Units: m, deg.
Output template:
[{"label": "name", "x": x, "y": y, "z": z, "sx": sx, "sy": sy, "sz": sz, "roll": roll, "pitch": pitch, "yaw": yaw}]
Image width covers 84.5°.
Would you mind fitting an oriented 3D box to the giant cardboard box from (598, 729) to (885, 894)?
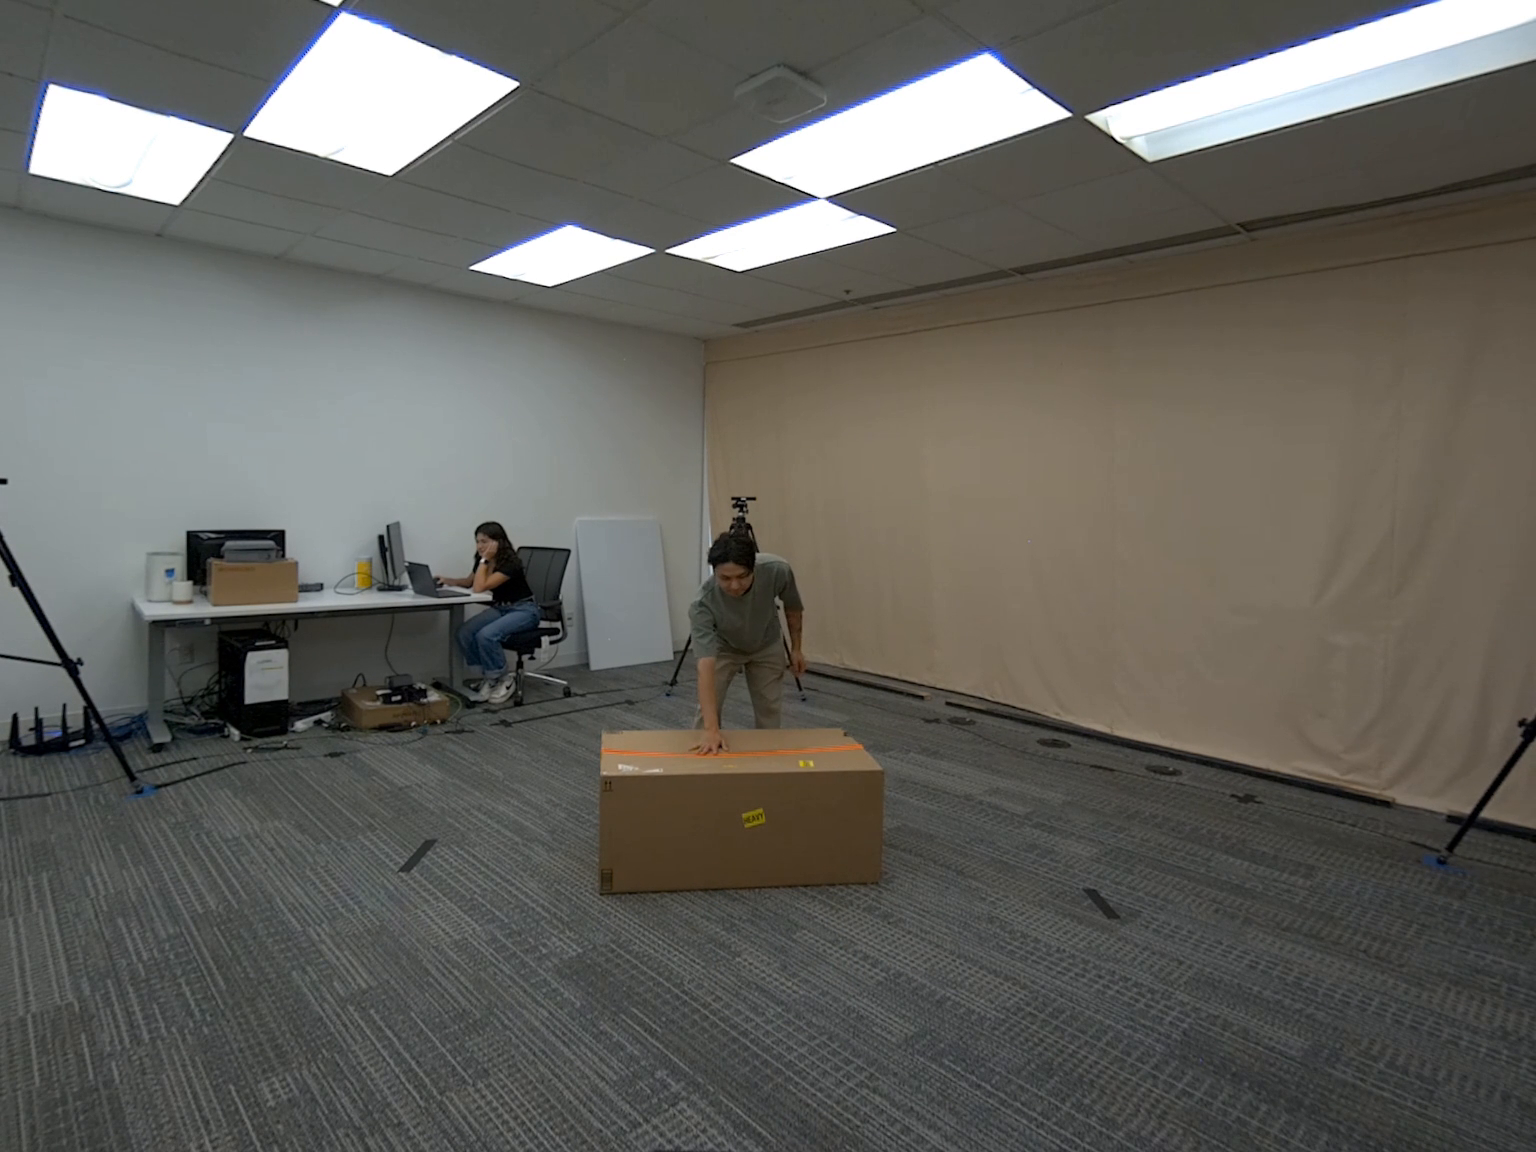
[{"label": "giant cardboard box", "x": -0.143, "y": 0.878, "z": 3.271, "sx": 1.019, "sy": 0.425, "sz": 0.583, "roll": 1, "pitch": 5, "yaw": -9}]
